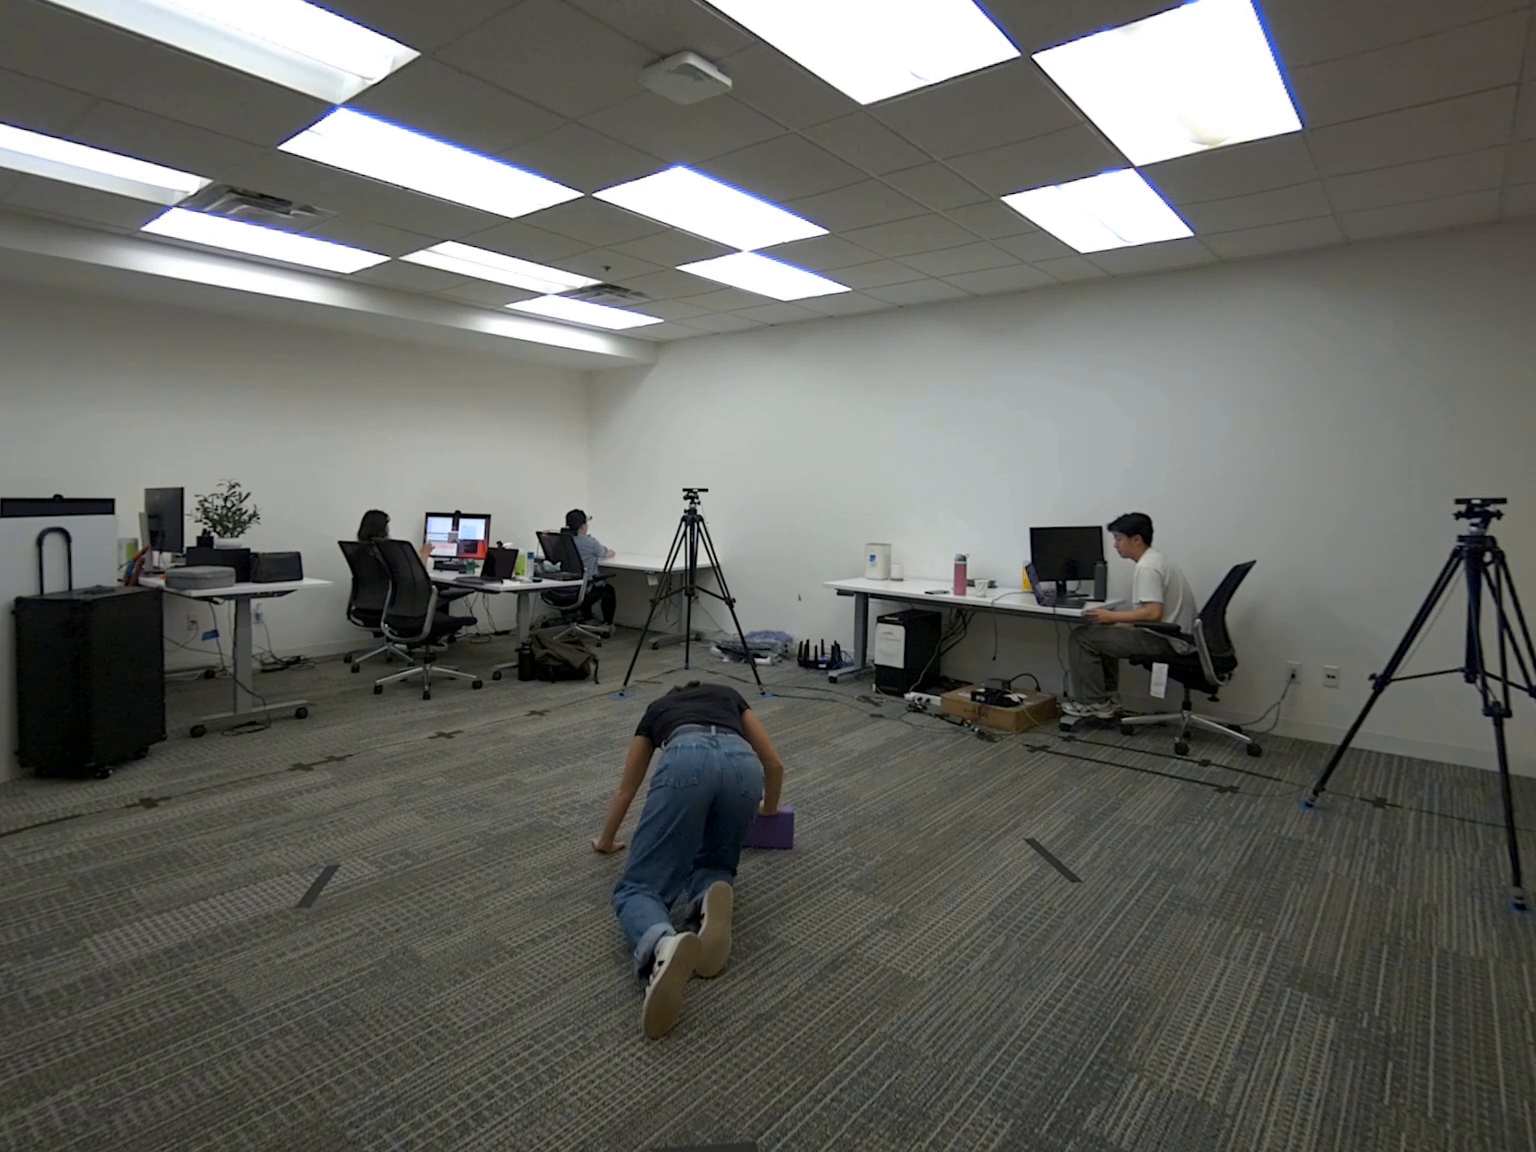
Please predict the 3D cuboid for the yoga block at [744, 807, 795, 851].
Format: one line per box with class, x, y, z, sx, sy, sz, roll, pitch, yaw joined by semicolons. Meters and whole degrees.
yoga block;-0.014;0.974;3.332;0.230;0.148;0.076;-2;3;2
